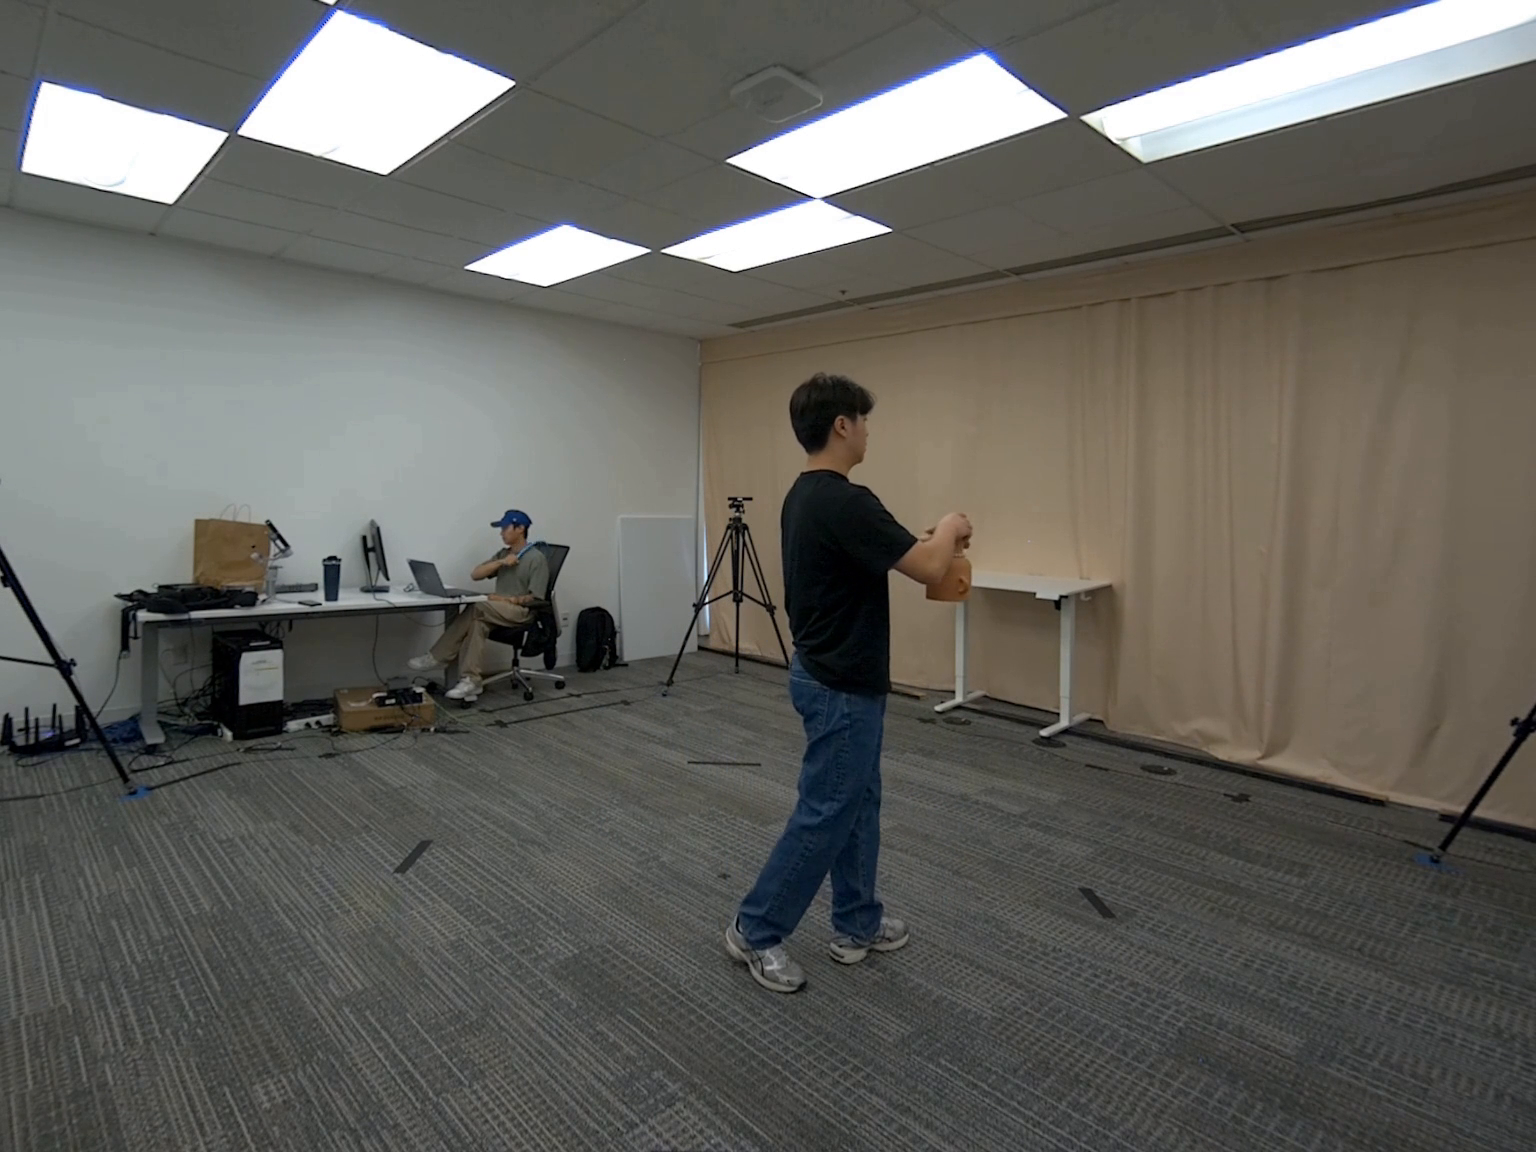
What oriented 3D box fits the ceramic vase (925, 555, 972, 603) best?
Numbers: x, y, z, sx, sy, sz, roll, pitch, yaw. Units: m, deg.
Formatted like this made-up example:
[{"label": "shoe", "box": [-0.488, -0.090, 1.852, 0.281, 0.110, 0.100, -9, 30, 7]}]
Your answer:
[{"label": "ceramic vase", "box": [0.543, -0.036, 2.541, 0.162, 0.219, 0.132, 5, 2, 31]}]
